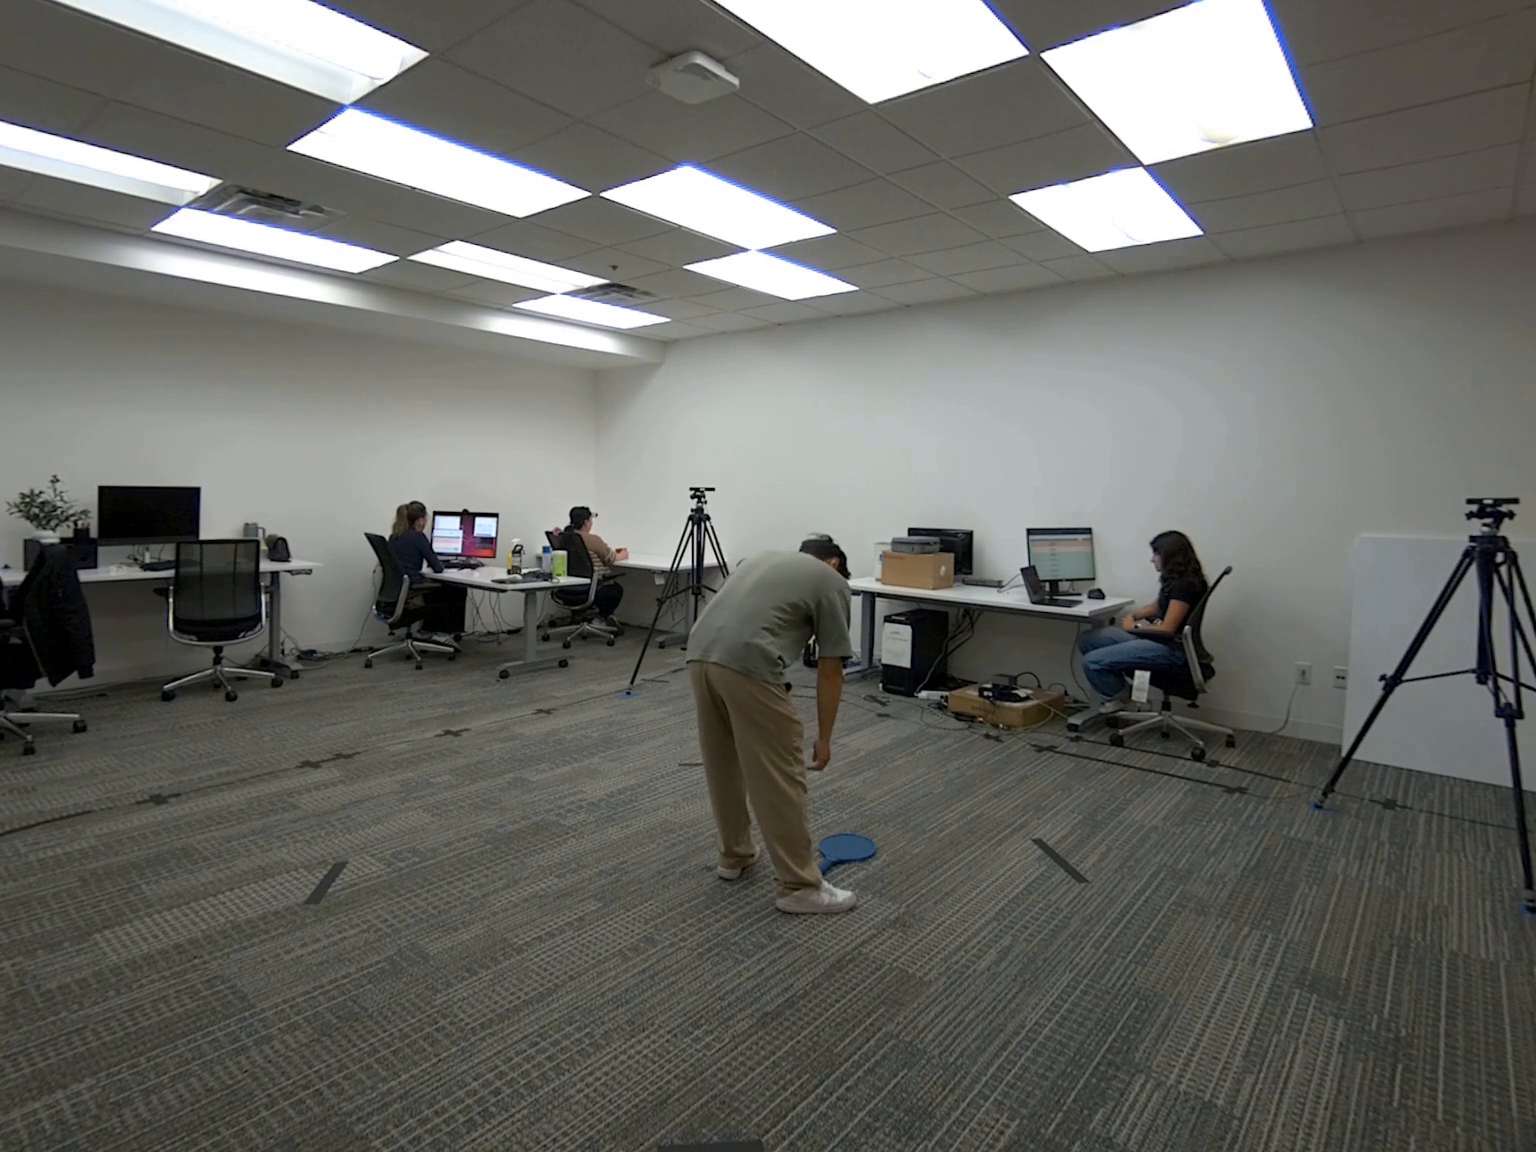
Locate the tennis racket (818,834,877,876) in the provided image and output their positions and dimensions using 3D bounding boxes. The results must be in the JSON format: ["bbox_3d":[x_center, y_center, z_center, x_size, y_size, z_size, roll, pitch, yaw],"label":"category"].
[{"bbox_3d":[0.260,1.049,3.234,0.220,0.031,0.422,4,5,28],"label":"tennis racket"}]
